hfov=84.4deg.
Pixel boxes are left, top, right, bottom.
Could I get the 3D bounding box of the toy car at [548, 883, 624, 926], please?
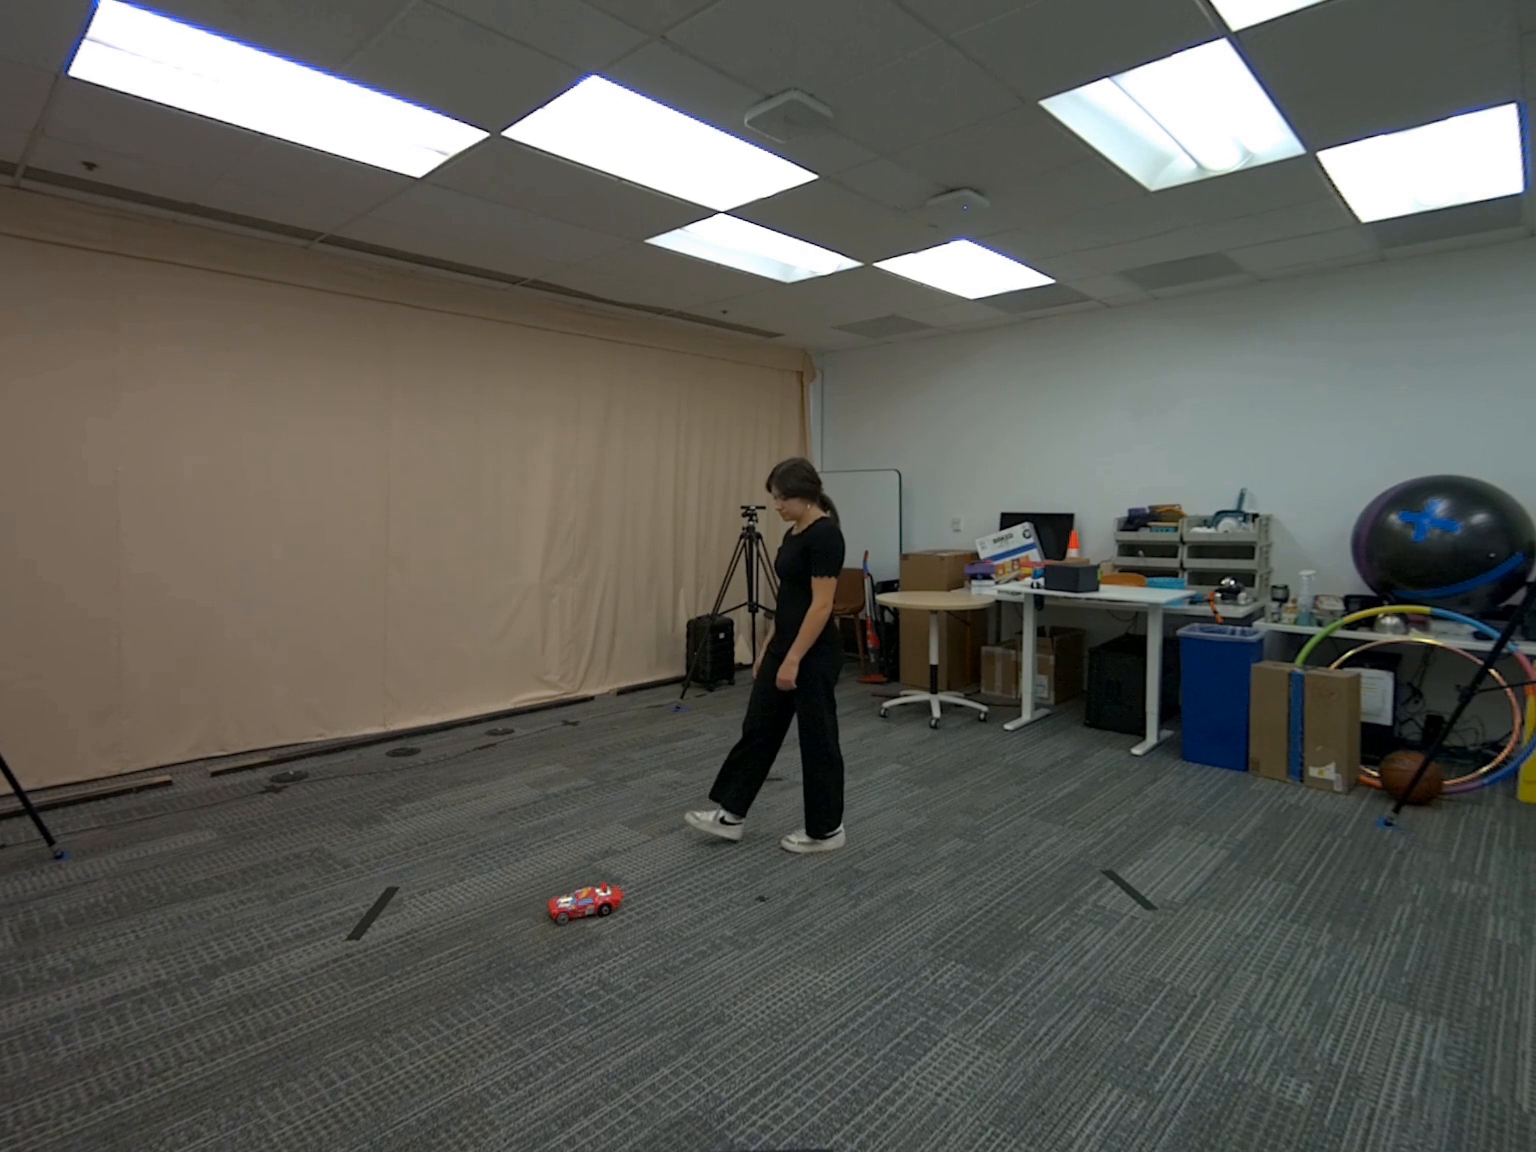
[{"bbox_3d":[-0.626,1.127,2.890,0.250,0.083,0.133,-13,8,-21],"label":"toy car"}]
